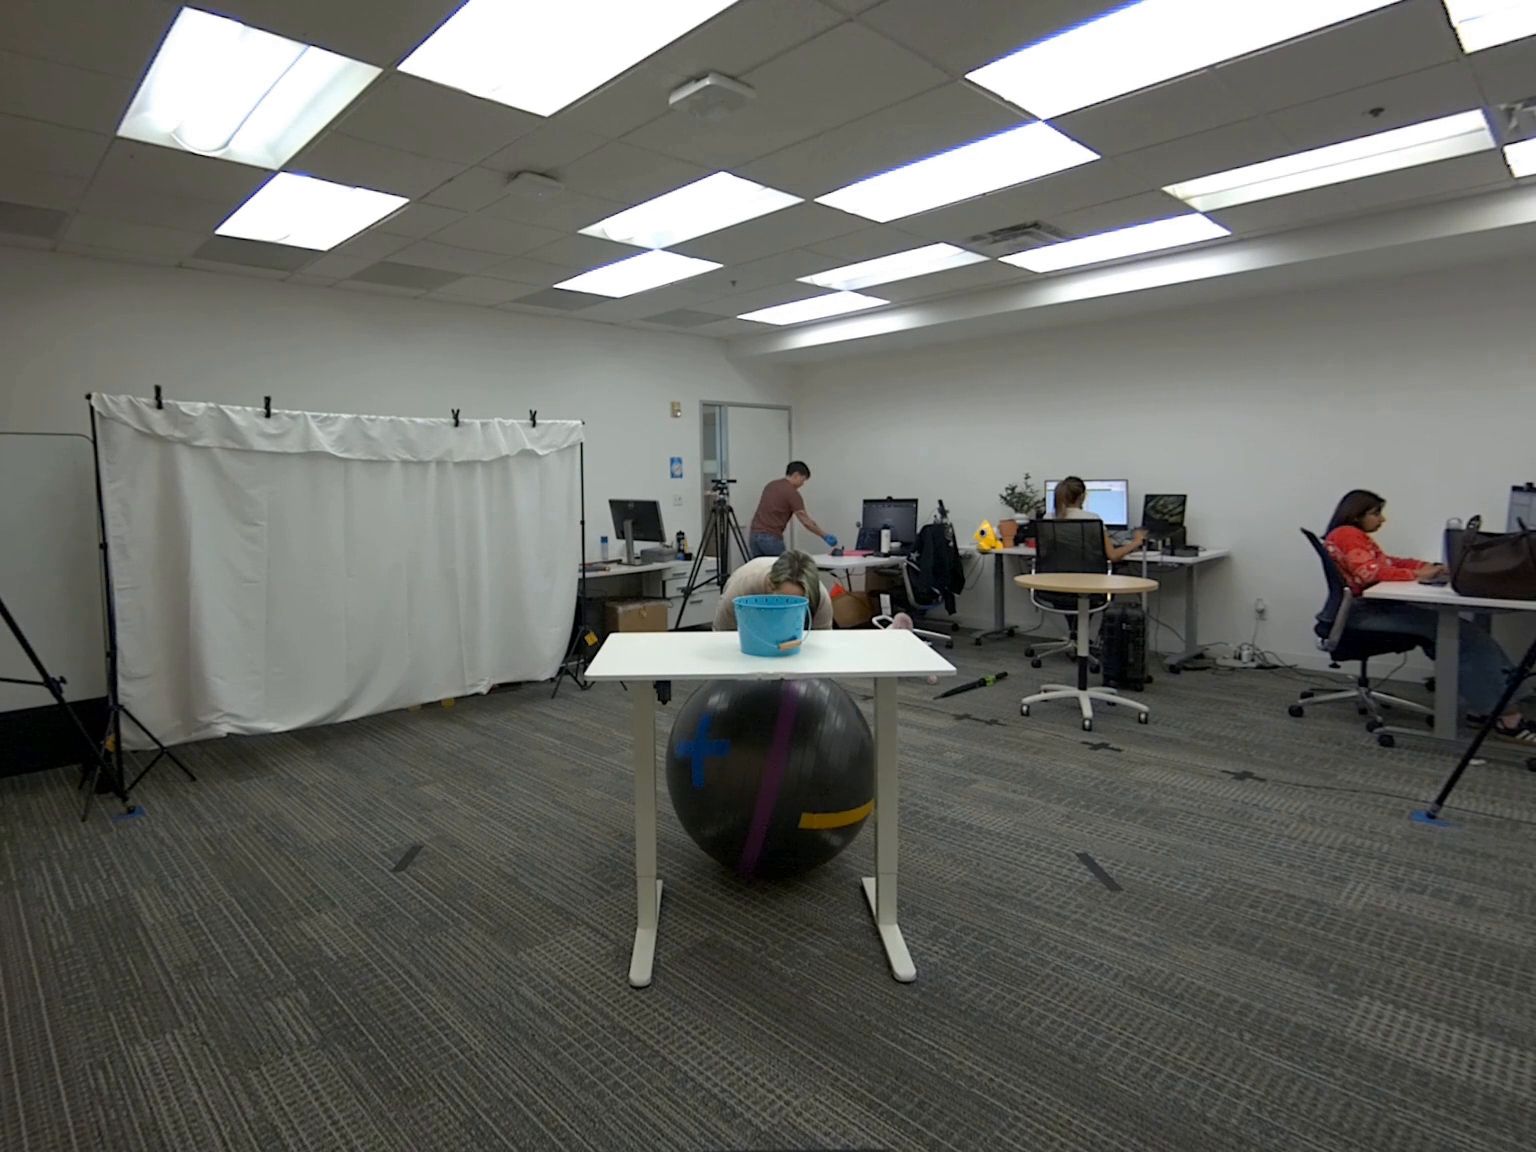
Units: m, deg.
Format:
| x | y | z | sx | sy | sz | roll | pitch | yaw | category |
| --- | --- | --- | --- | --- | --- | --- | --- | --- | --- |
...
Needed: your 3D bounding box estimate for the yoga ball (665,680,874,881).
| x | y | z | sx | sy | sz | roll | pitch | yaw | category |
| --- | --- | --- | --- | --- | --- | --- | --- | --- | --- |
| 0.011 | 0.686 | 3.069 | 0.757 | 0.755 | 0.762 | -1 | 5 | -2 | yoga ball |
